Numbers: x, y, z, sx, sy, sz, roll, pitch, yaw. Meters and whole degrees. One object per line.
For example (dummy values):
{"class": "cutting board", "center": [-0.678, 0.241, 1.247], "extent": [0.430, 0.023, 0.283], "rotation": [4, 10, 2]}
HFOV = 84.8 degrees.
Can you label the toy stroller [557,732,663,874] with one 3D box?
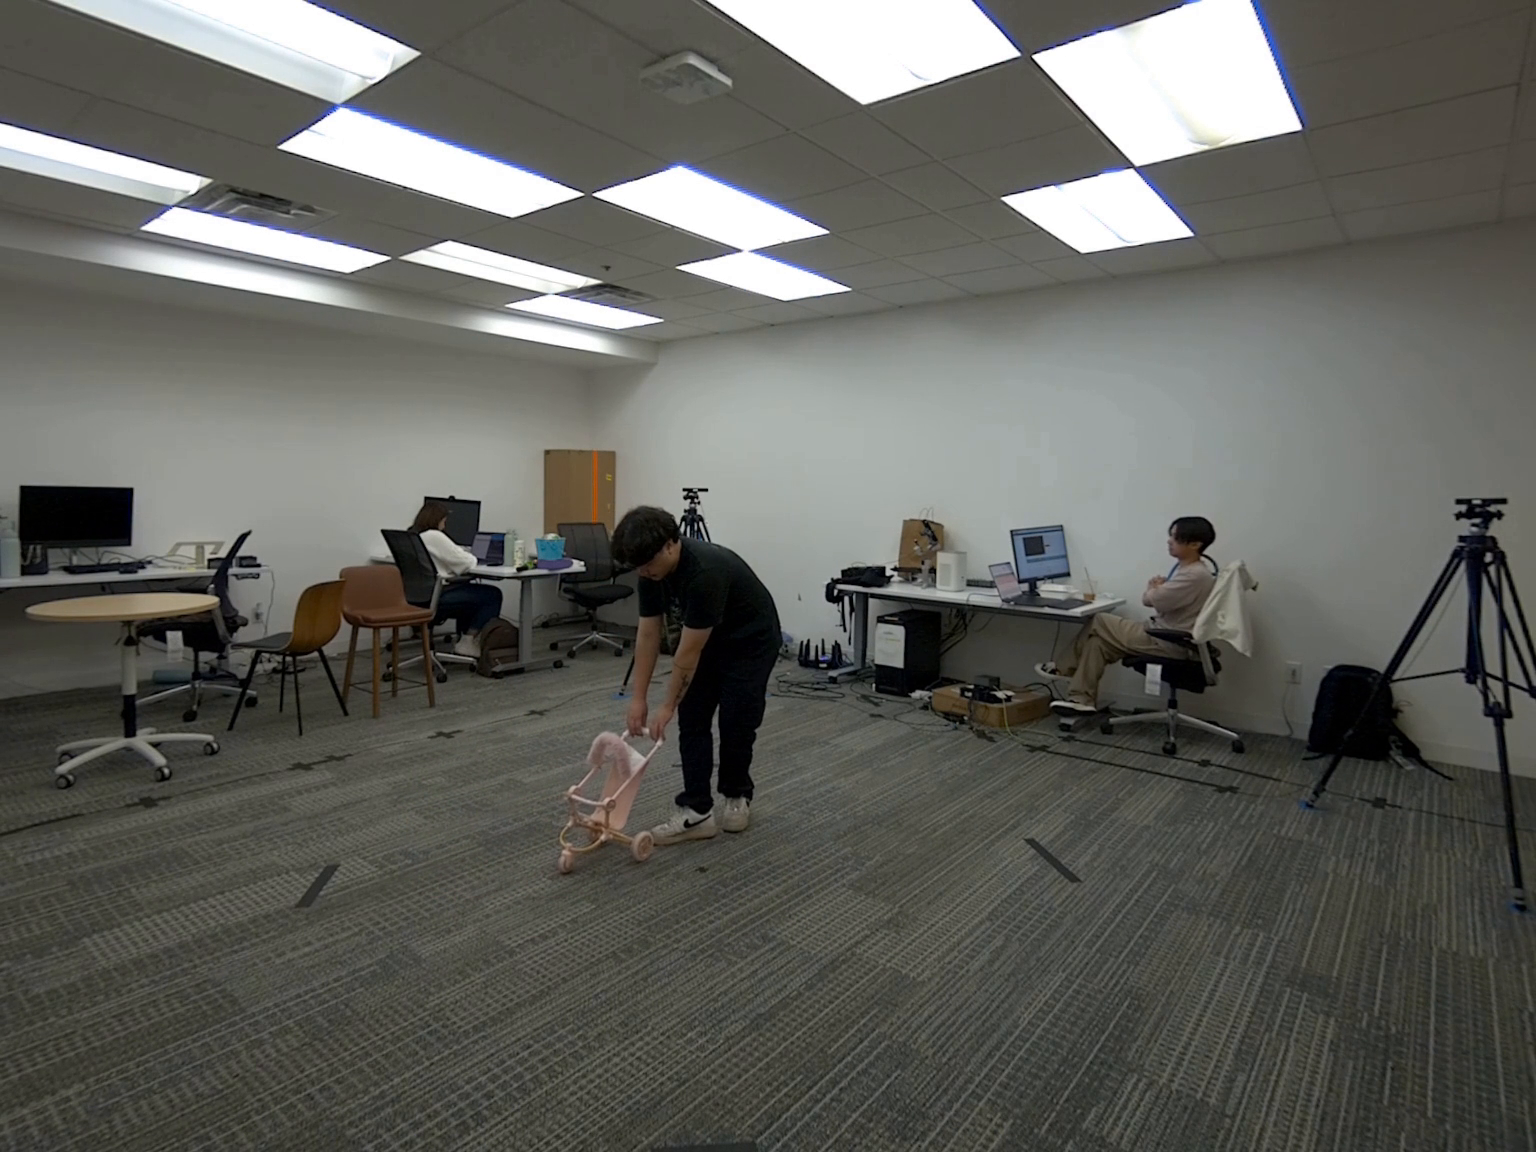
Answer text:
{"class": "toy stroller", "center": [-0.618, 0.827, 3.194], "extent": [0.291, 0.538, 0.328], "rotation": [3, -11, 42]}
